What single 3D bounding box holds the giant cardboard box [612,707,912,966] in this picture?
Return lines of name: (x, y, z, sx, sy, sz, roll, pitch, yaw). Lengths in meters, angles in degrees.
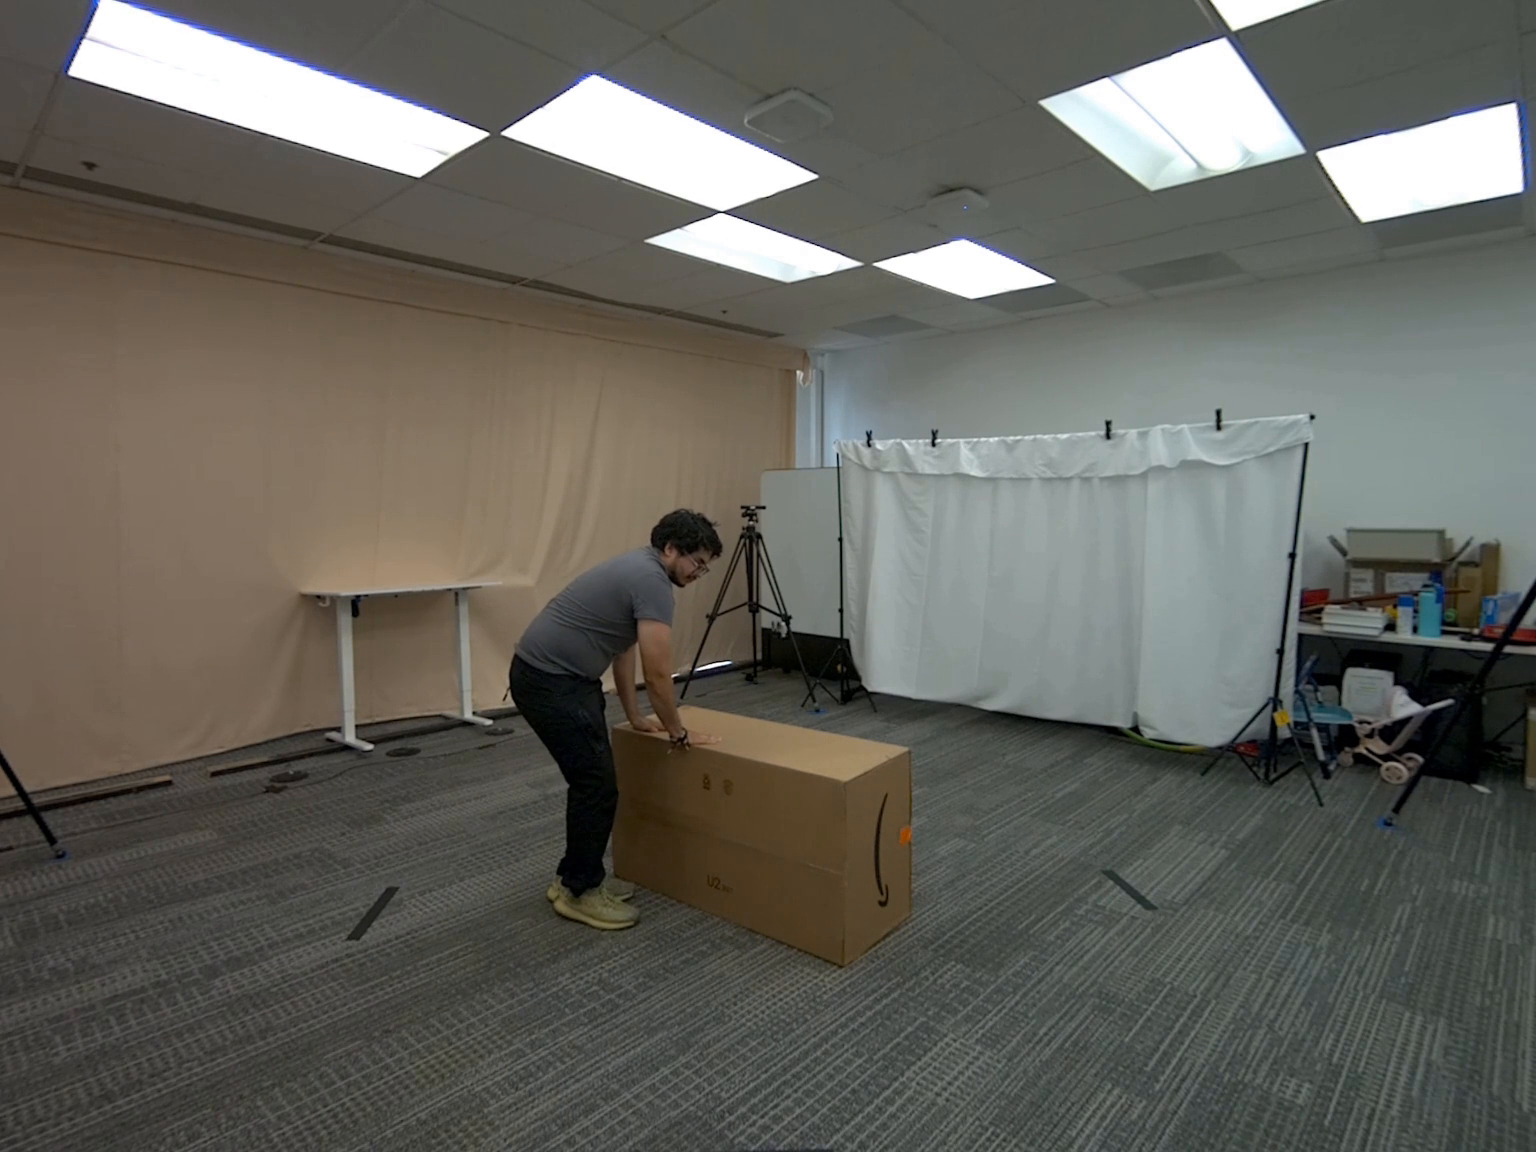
giant cardboard box: (-0.046, 0.854, 3.001, 1.059, 0.576, 0.413, 3, 4, 39)
